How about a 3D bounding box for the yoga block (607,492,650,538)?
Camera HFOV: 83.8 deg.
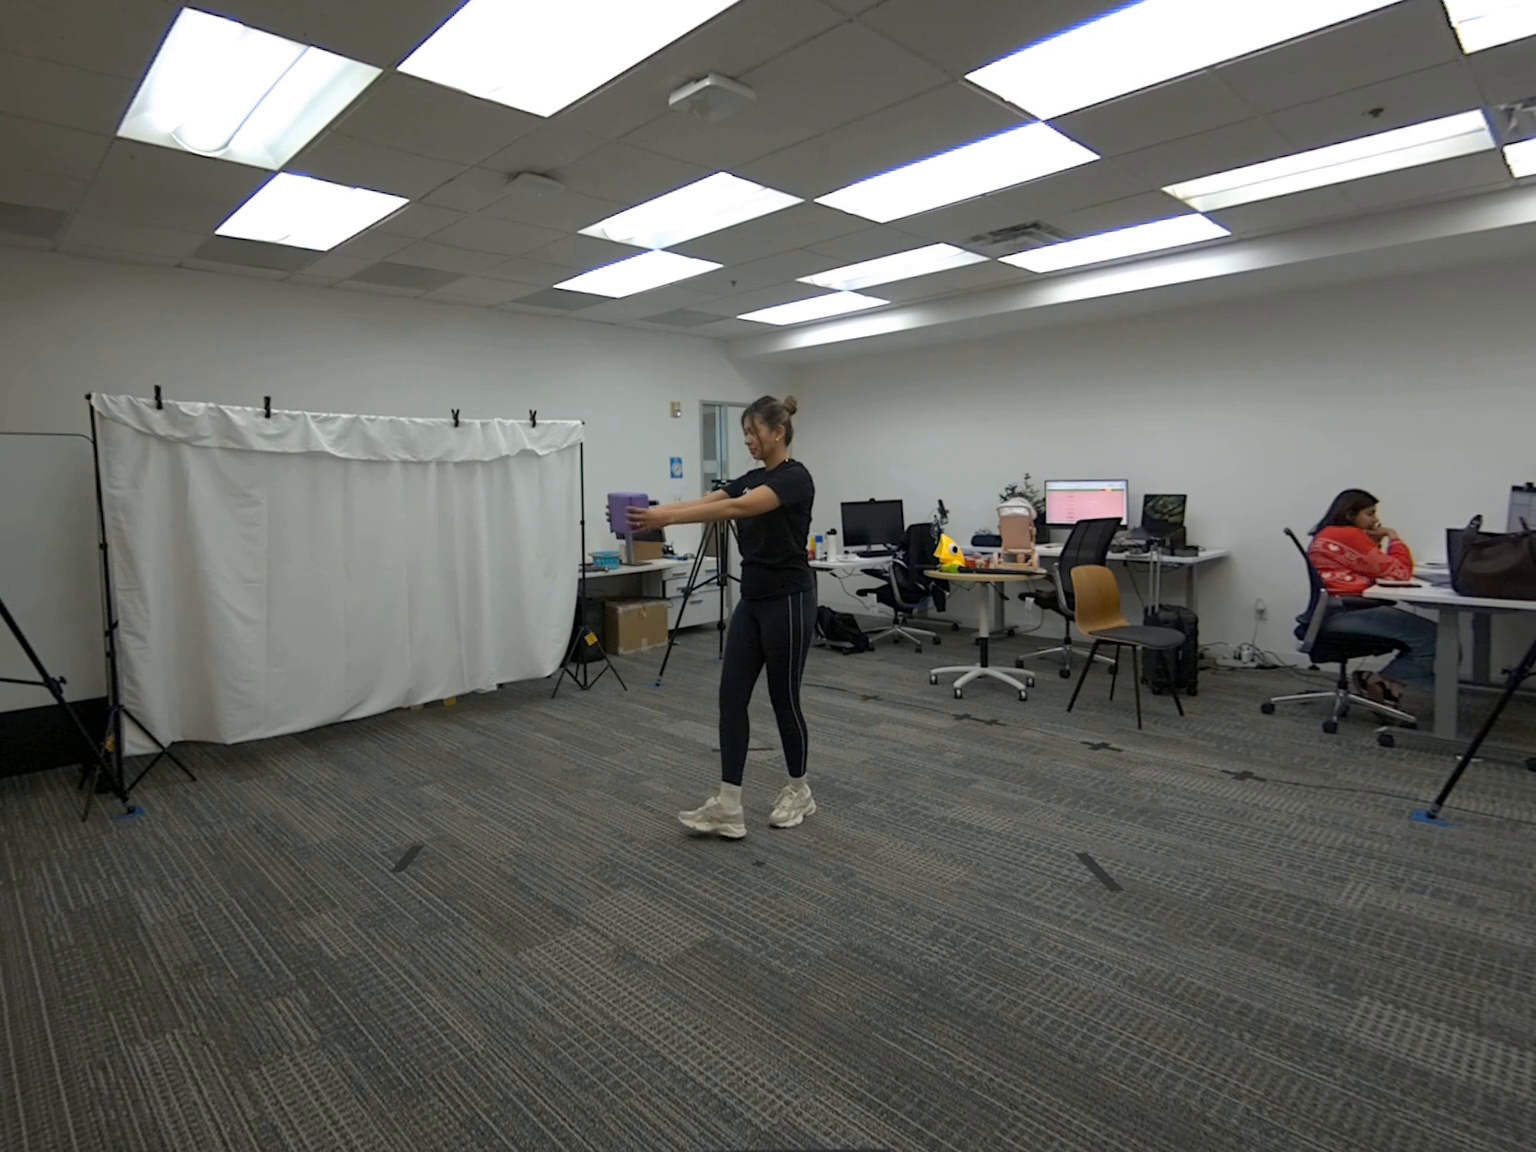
[{"bbox_3d":[-0.527,-0.239,3.178,0.075,0.148,0.234,-4,9,-18],"label":"yoga block"}]
